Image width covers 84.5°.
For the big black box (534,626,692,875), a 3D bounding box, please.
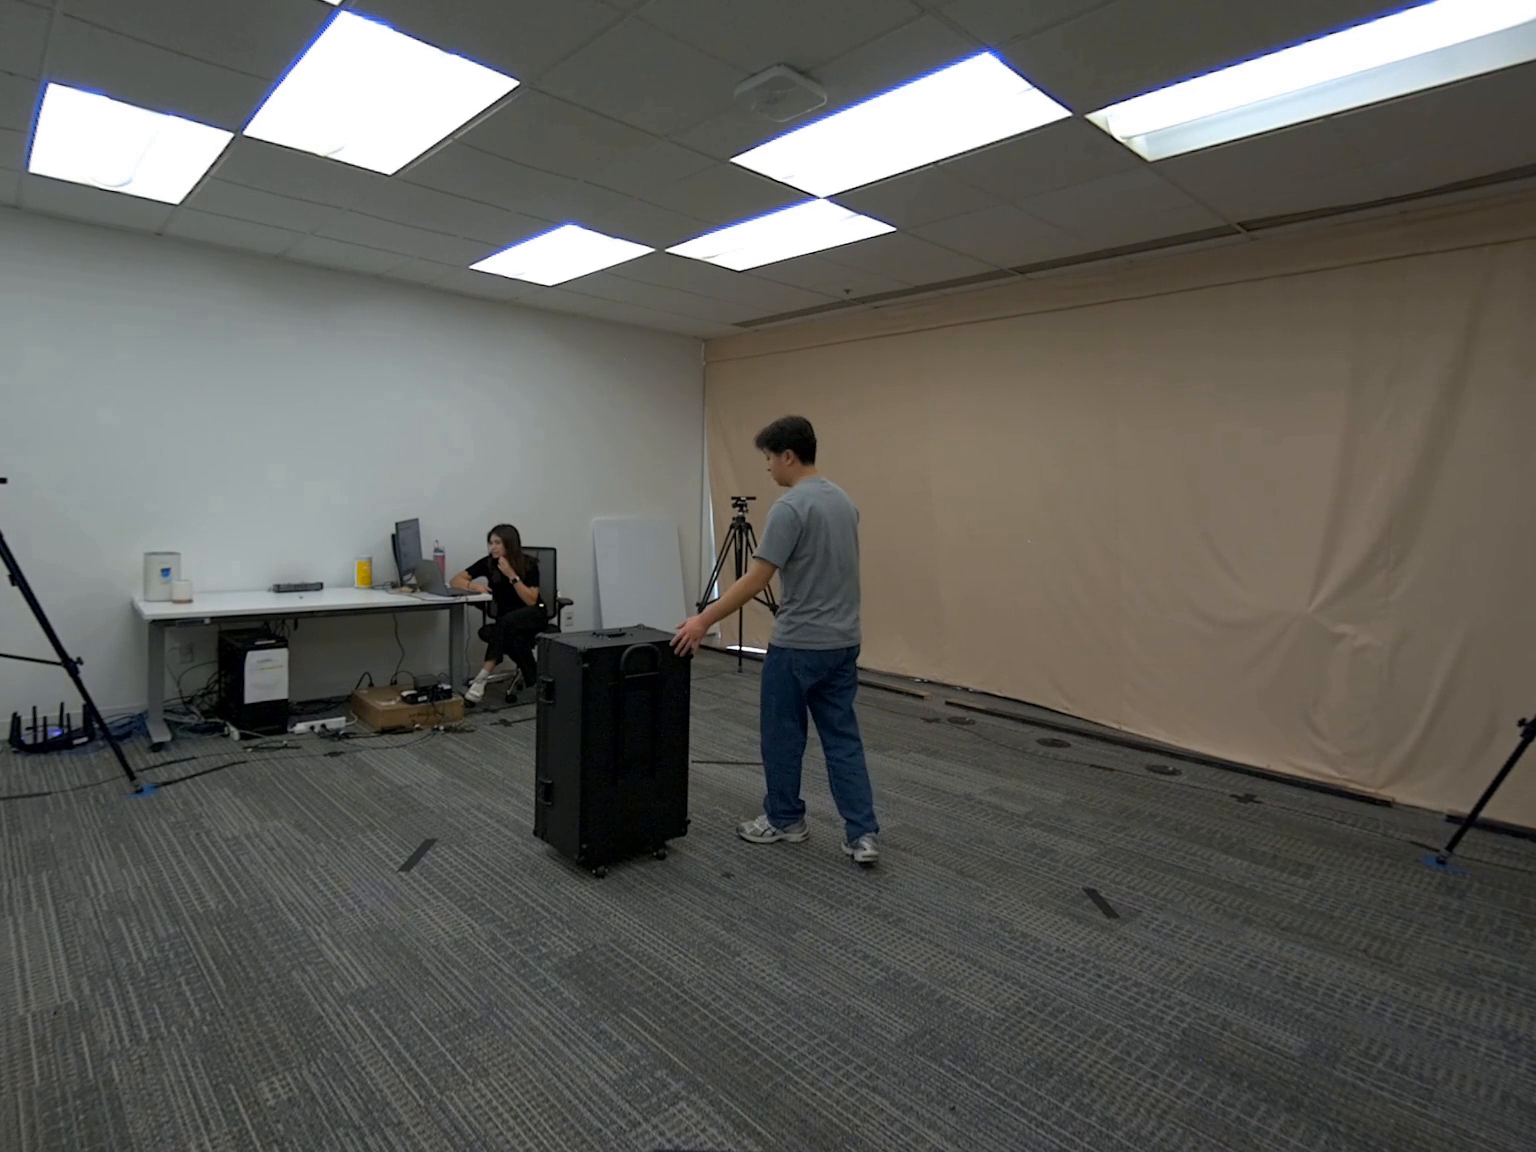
[{"bbox_3d":[-0.600,0.661,3.250,0.509,0.859,0.406,-1,4,-41],"label":"big black box"}]
